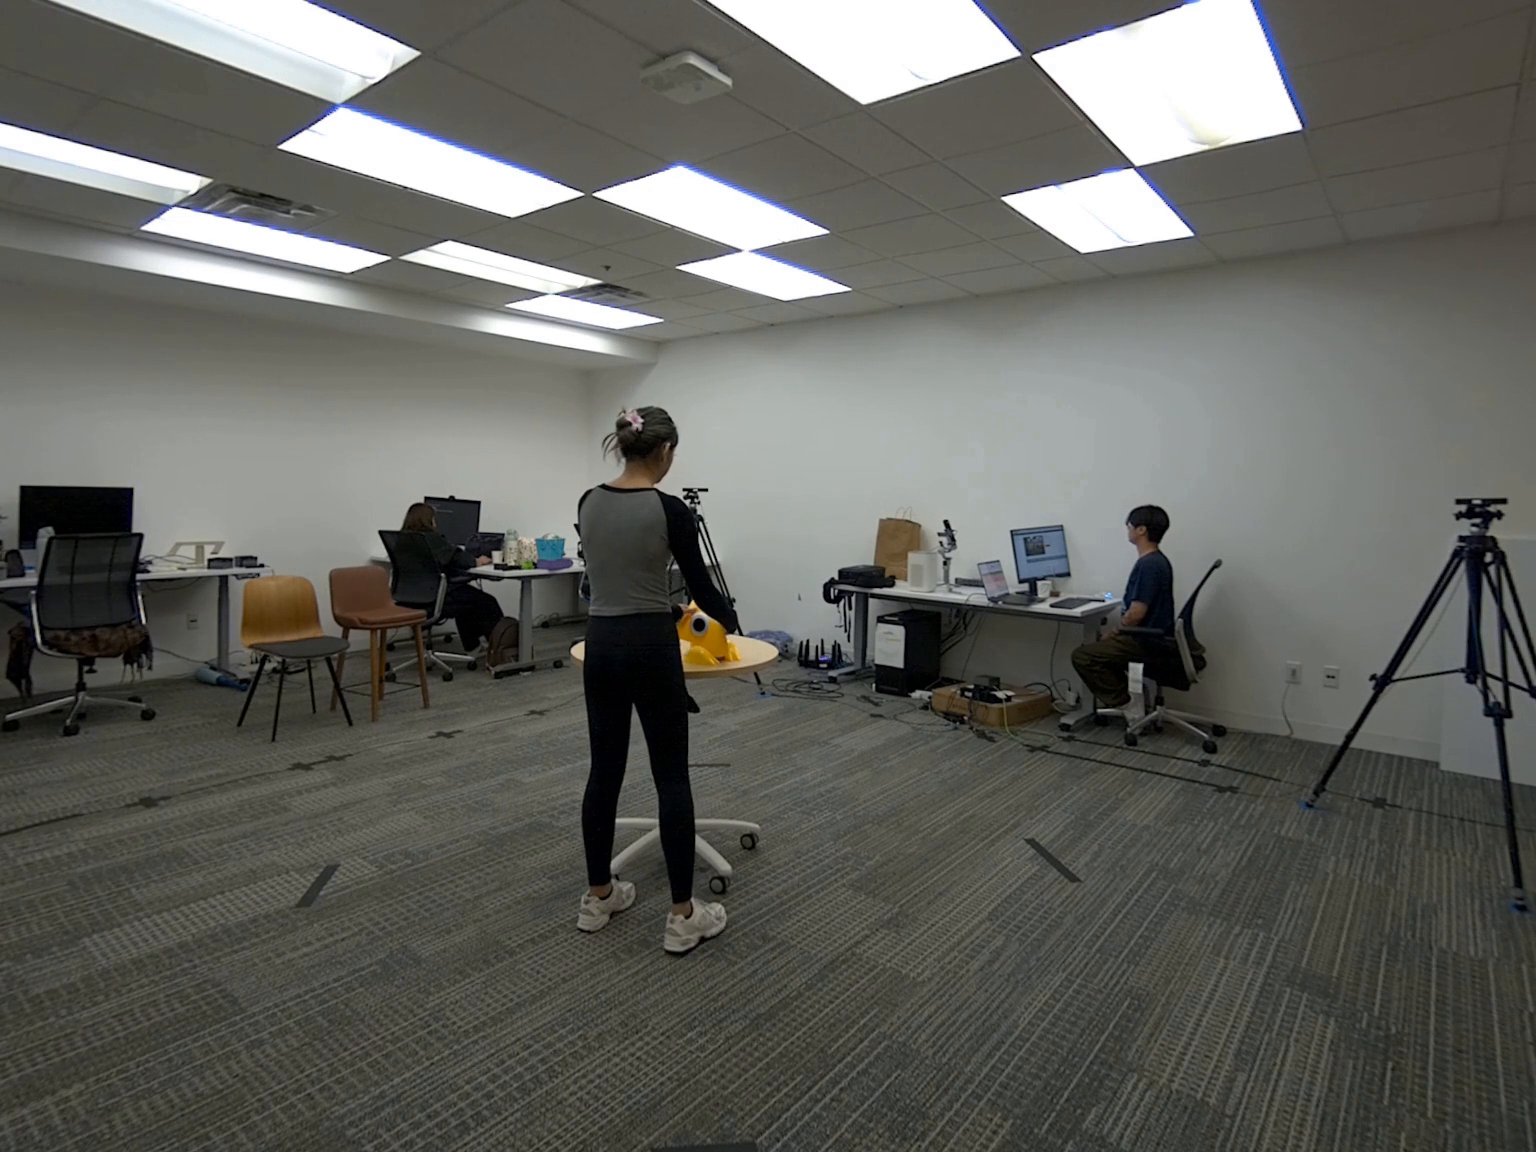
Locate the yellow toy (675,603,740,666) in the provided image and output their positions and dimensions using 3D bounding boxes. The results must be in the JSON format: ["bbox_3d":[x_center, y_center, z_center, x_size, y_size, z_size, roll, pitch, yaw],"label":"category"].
[{"bbox_3d":[-0.215,0.178,2.977,0.200,0.230,0.198,5,5,43],"label":"yellow toy"}]
